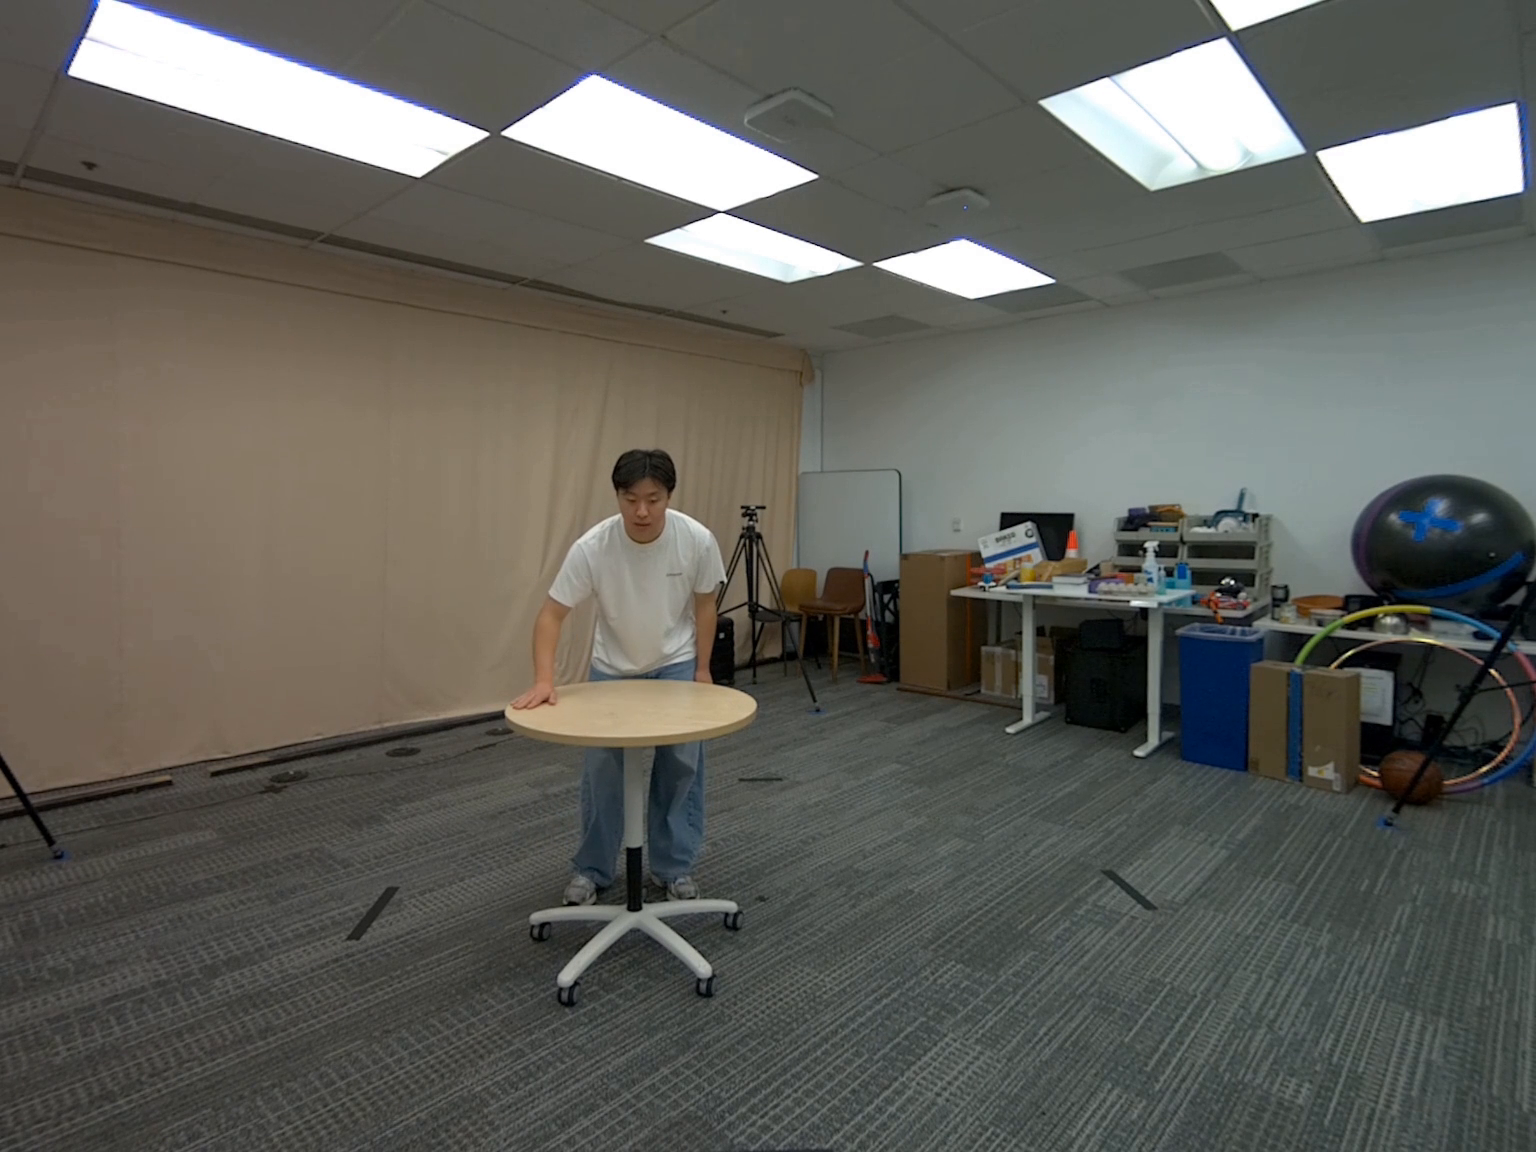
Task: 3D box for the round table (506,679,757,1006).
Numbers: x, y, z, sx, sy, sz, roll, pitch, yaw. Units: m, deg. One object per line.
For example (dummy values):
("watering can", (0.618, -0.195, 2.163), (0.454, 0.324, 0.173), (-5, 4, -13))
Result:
("round table", (-0.404, 0.786, 2.610), (0.763, 0.792, 0.766), (0, 4, -2))
